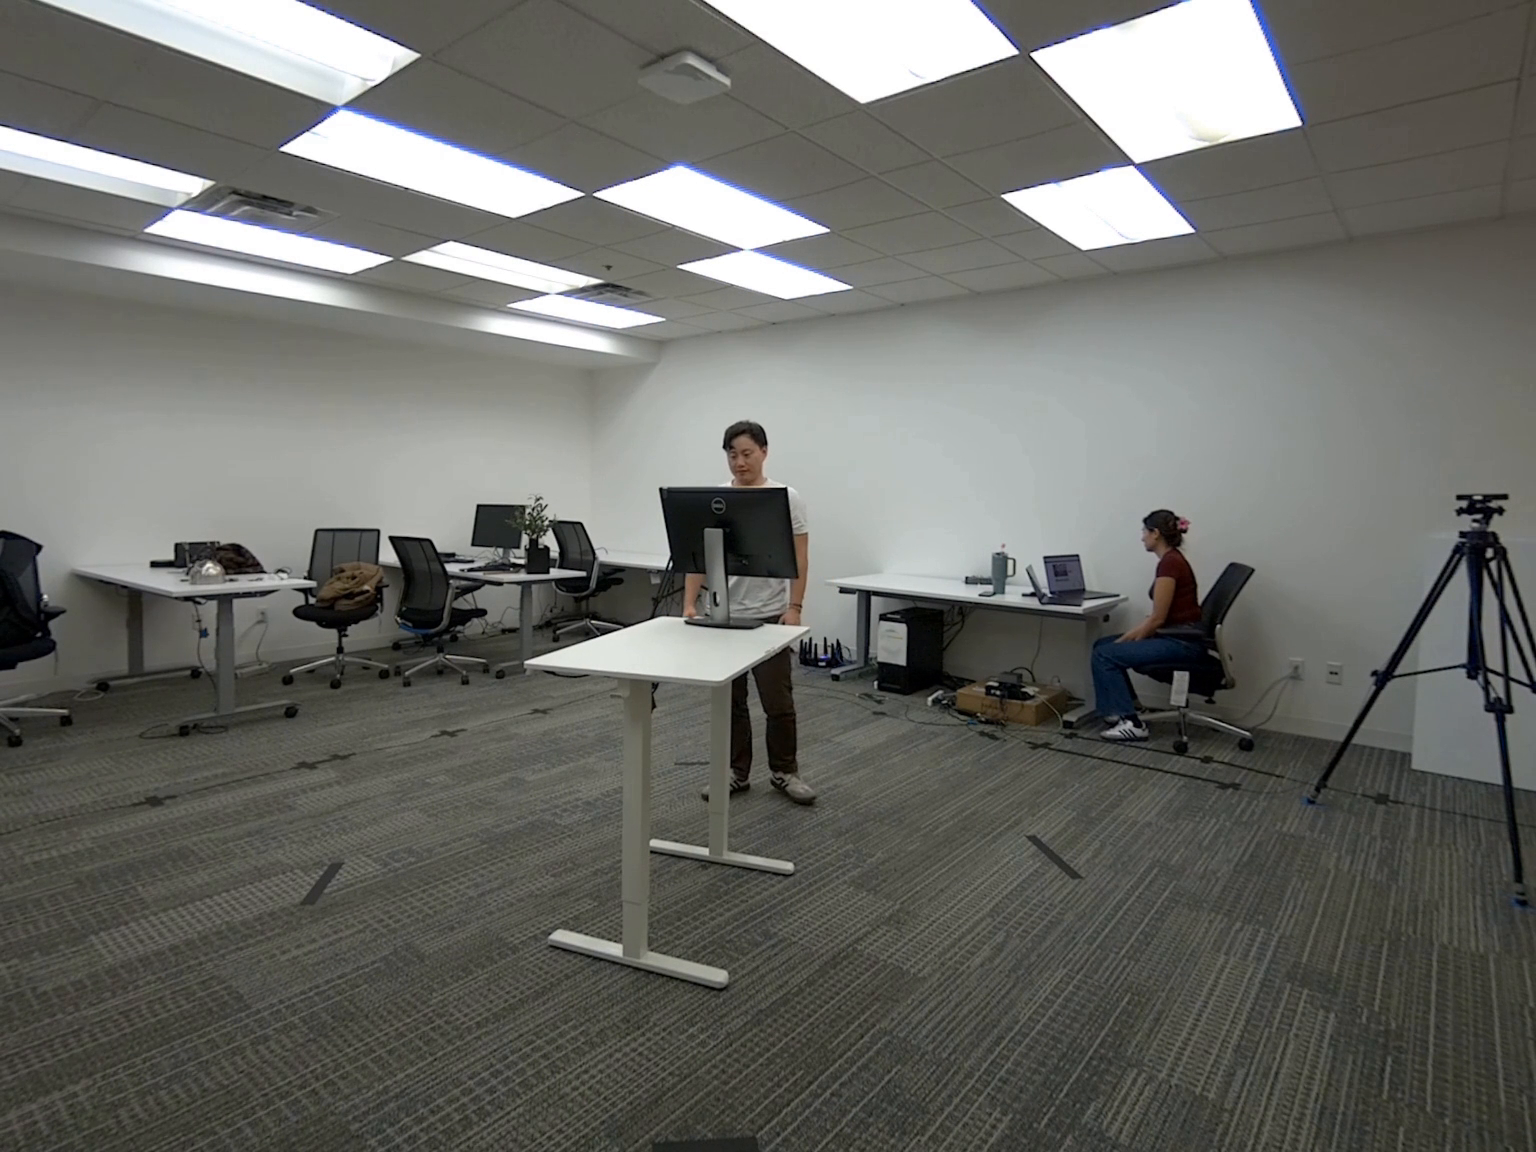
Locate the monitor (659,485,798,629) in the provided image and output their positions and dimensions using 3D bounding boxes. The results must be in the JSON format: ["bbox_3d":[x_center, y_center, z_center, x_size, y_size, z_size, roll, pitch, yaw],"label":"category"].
[{"bbox_3d":[-0.179,-0.075,3.162,0.553,0.519,0.183,2,7,26],"label":"monitor"}]
